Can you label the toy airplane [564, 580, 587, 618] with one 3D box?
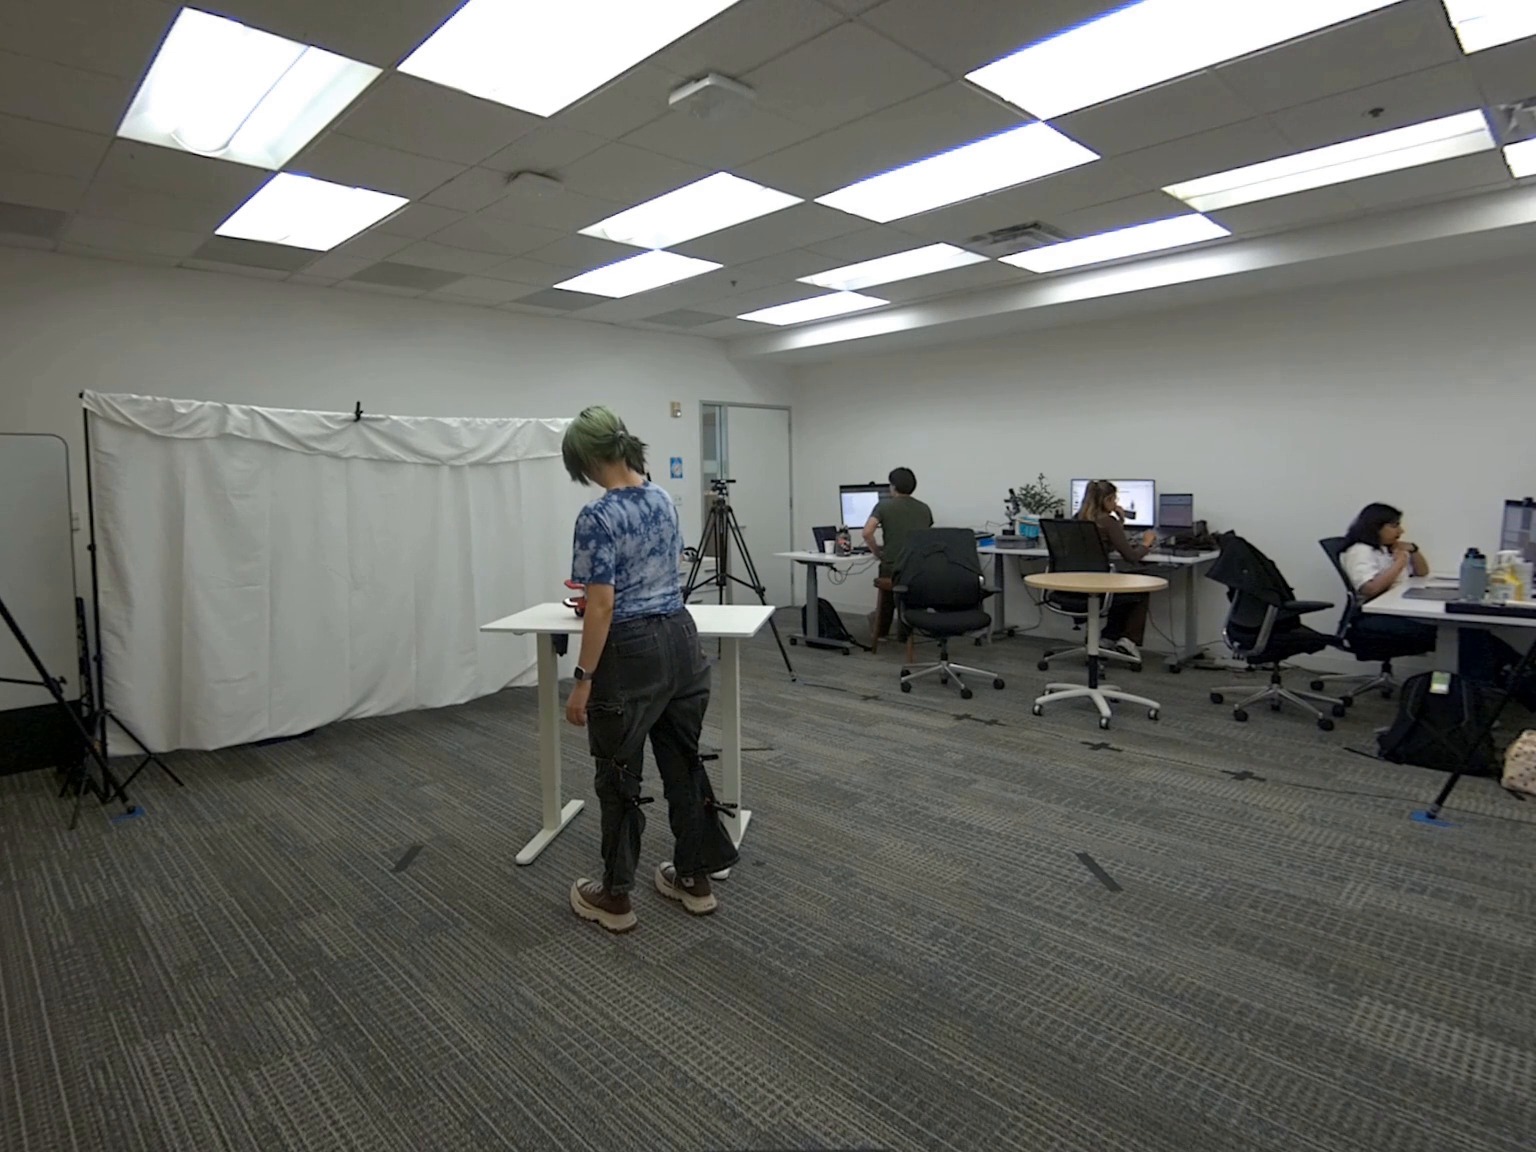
[{"bbox_3d":[-0.633,0.083,3.264,0.265,0.156,0.247,1,6,24],"label":"toy airplane"}]
